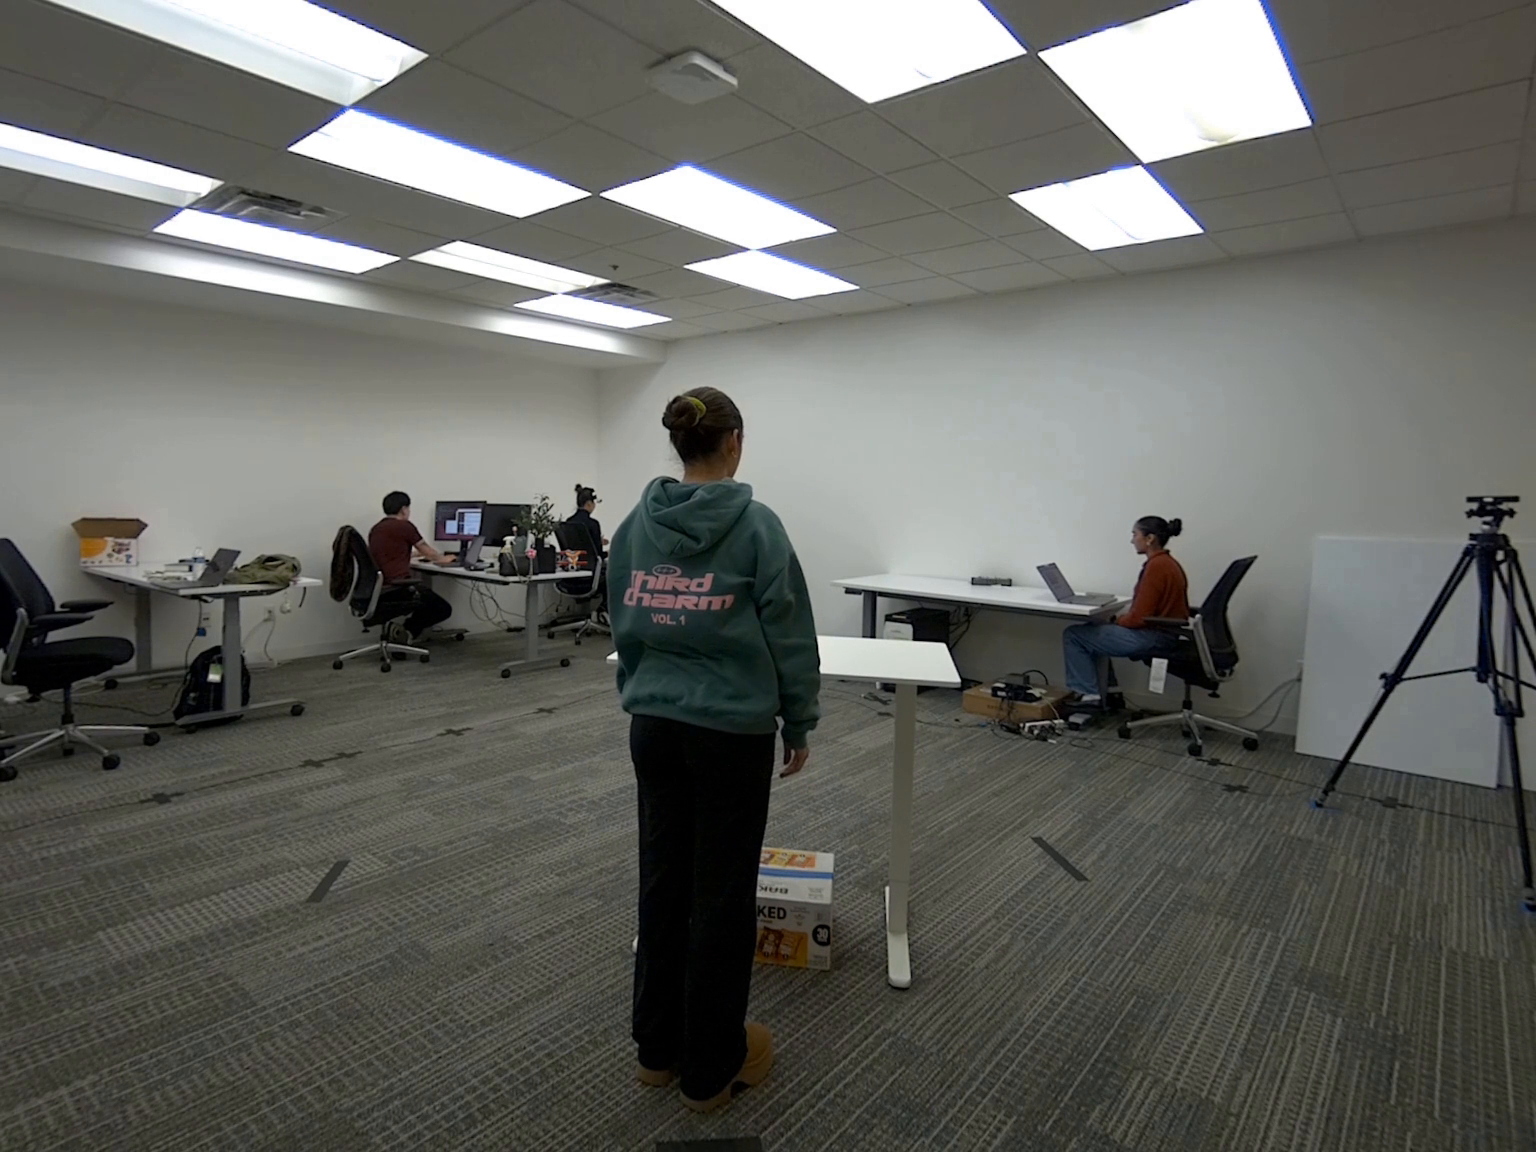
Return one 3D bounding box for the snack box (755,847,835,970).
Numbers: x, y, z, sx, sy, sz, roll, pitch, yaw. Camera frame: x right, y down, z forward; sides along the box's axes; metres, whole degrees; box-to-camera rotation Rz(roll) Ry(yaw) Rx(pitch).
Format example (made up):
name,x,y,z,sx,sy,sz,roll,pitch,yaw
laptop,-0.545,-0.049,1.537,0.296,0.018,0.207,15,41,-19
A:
name,x,y,z,sx,sy,sz,roll,pitch,yaw
snack box,-0.008,1.013,2.641,0.409,0.205,0.338,2,5,7
